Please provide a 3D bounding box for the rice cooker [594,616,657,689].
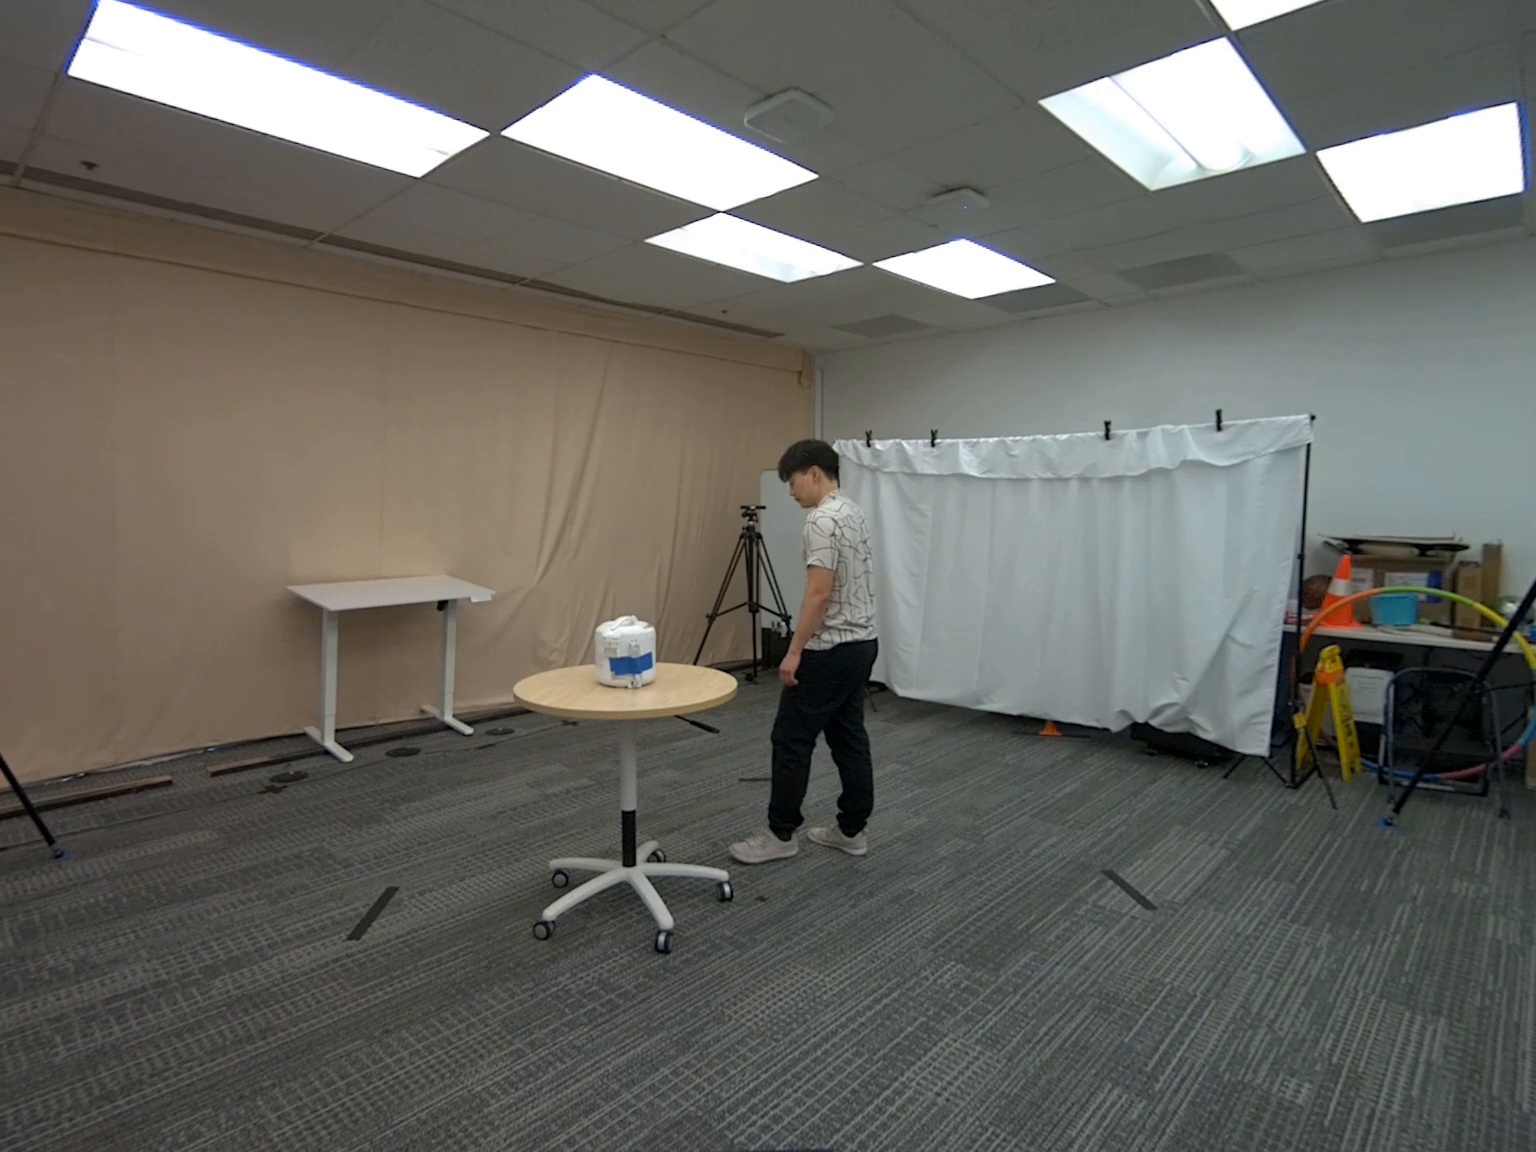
[{"bbox_3d":[-0.493,0.256,2.910,0.222,0.232,0.216,3,4,21],"label":"rice cooker"}]
